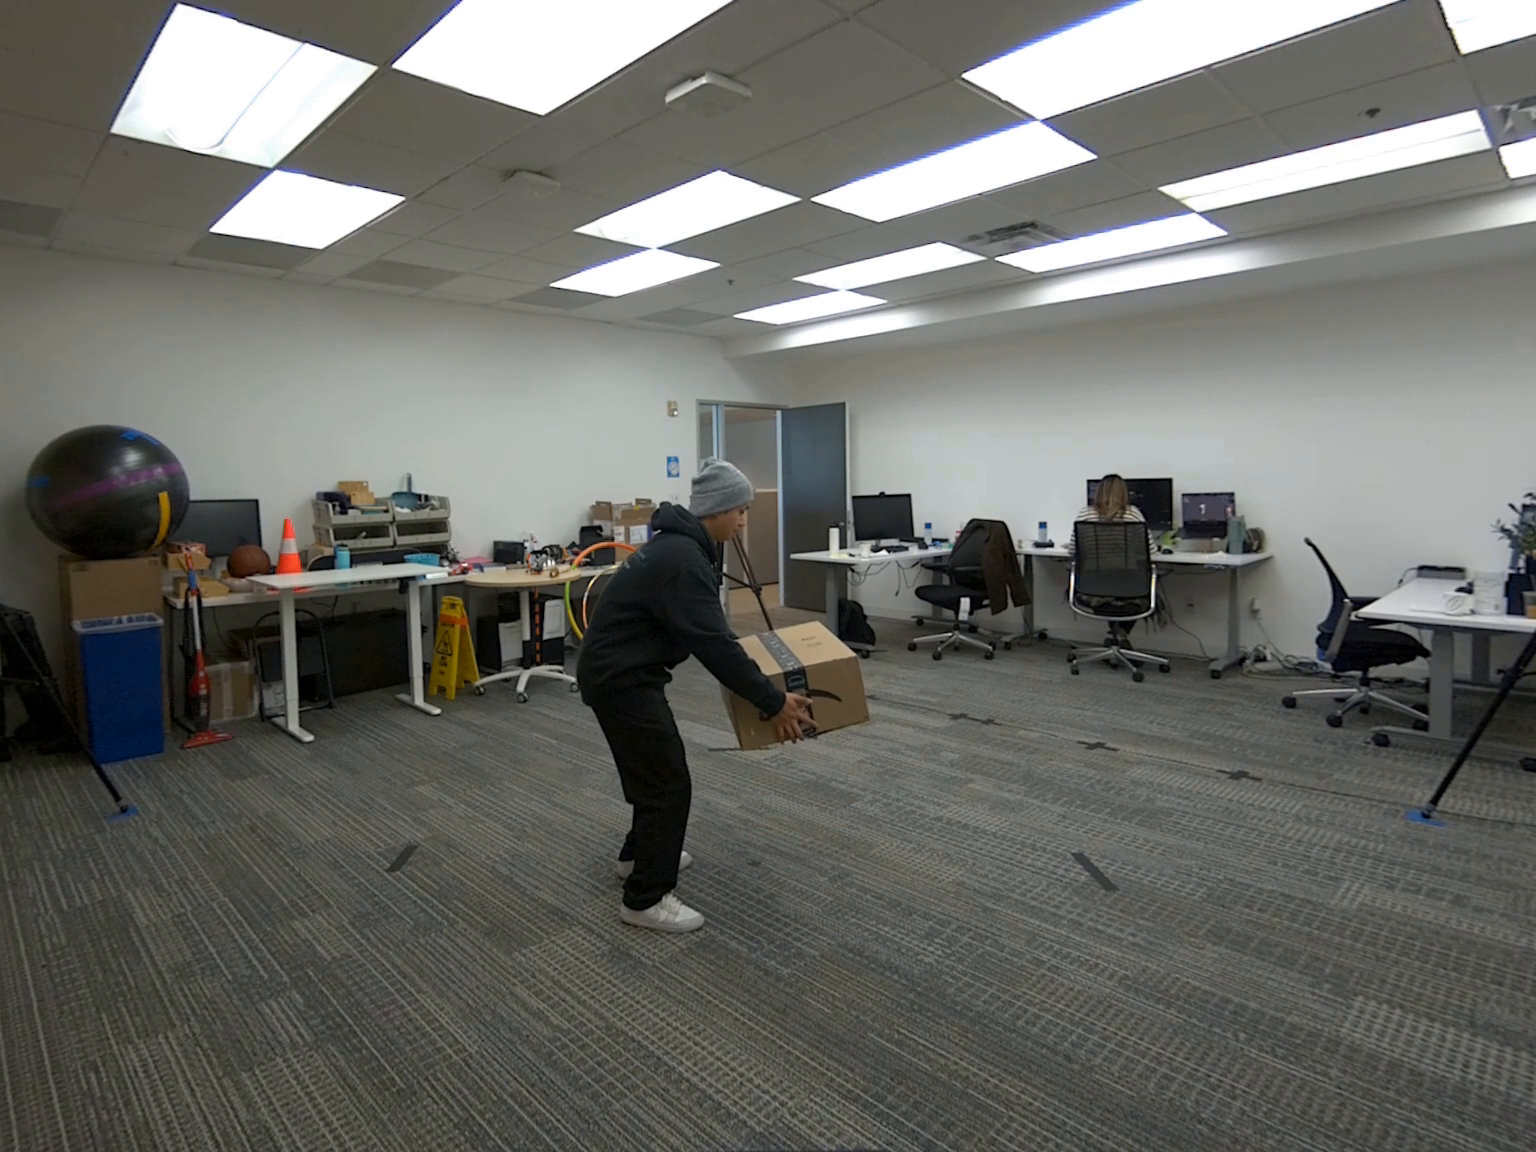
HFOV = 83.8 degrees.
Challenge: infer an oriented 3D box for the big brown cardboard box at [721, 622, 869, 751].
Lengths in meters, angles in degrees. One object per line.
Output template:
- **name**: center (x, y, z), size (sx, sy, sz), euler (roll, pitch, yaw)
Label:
- **big brown cardboard box**: center (0.048, 0.356, 2.923), size (0.416, 0.231, 0.596), euler (-11, 10, -4)
